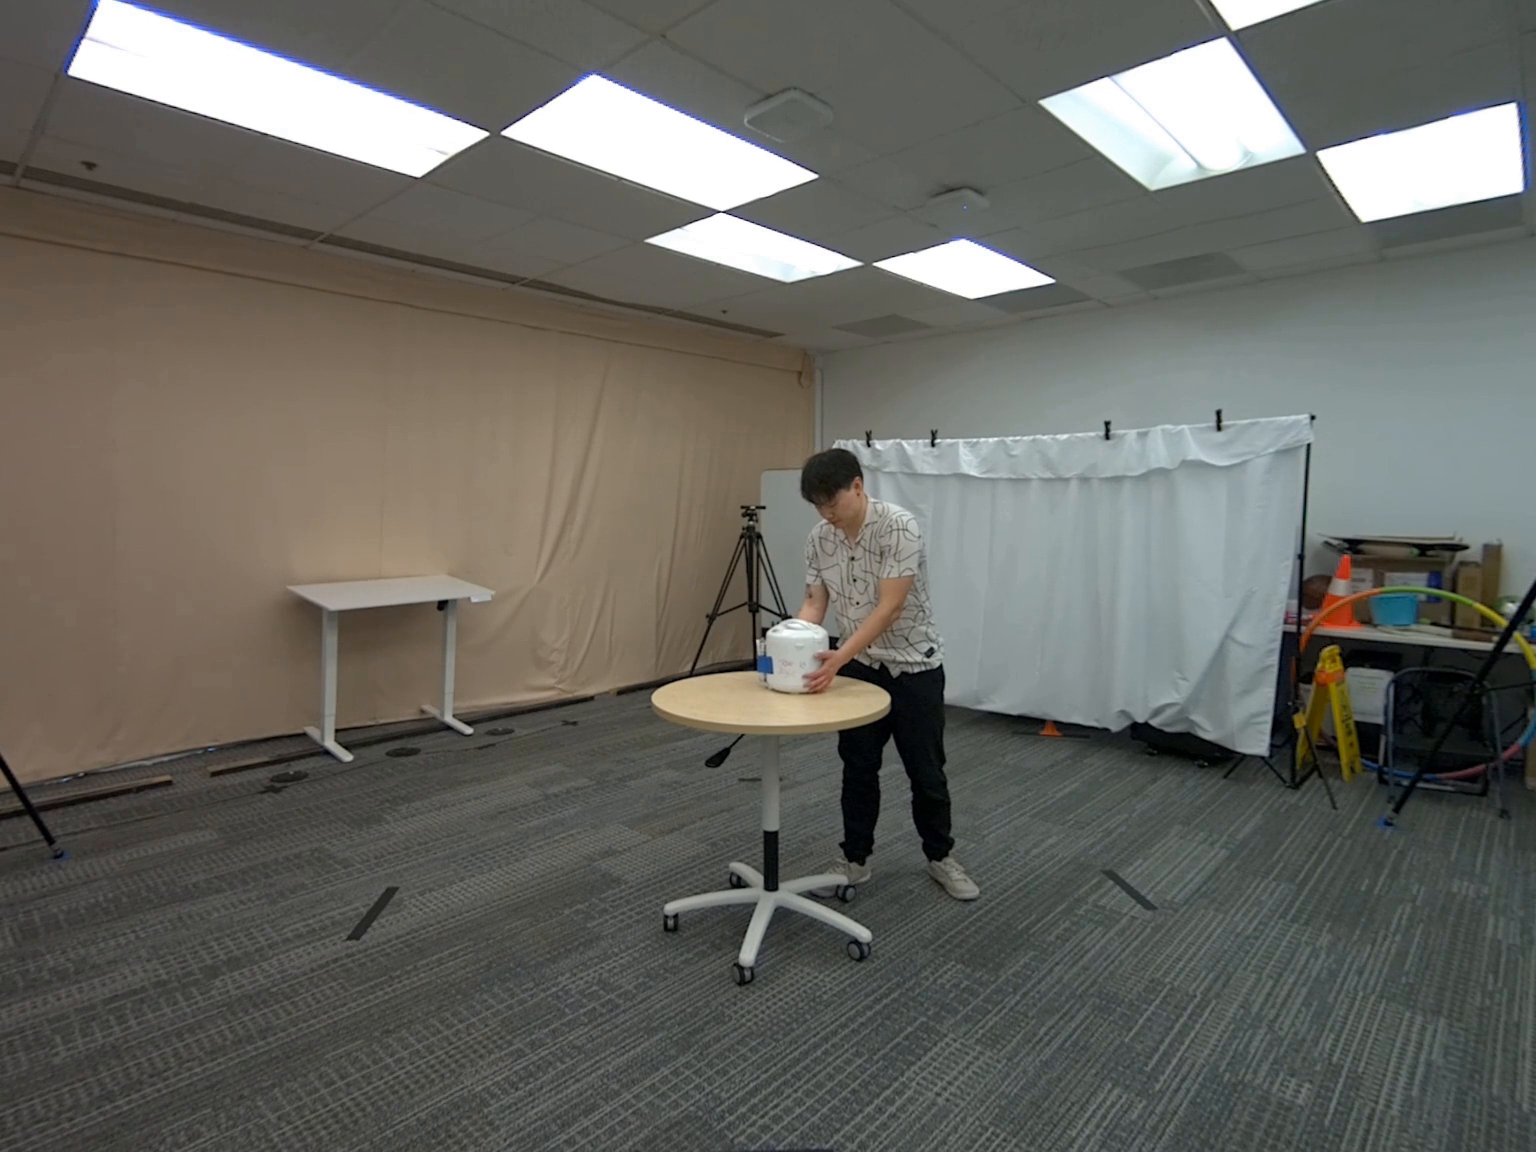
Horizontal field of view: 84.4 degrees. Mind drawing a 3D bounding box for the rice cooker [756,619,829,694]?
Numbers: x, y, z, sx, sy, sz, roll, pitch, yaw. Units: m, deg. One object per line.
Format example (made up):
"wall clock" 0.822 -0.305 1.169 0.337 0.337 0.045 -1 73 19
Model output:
"rice cooker" 0.095 0.262 2.800 0.211 0.232 0.228 -5 7 -40
